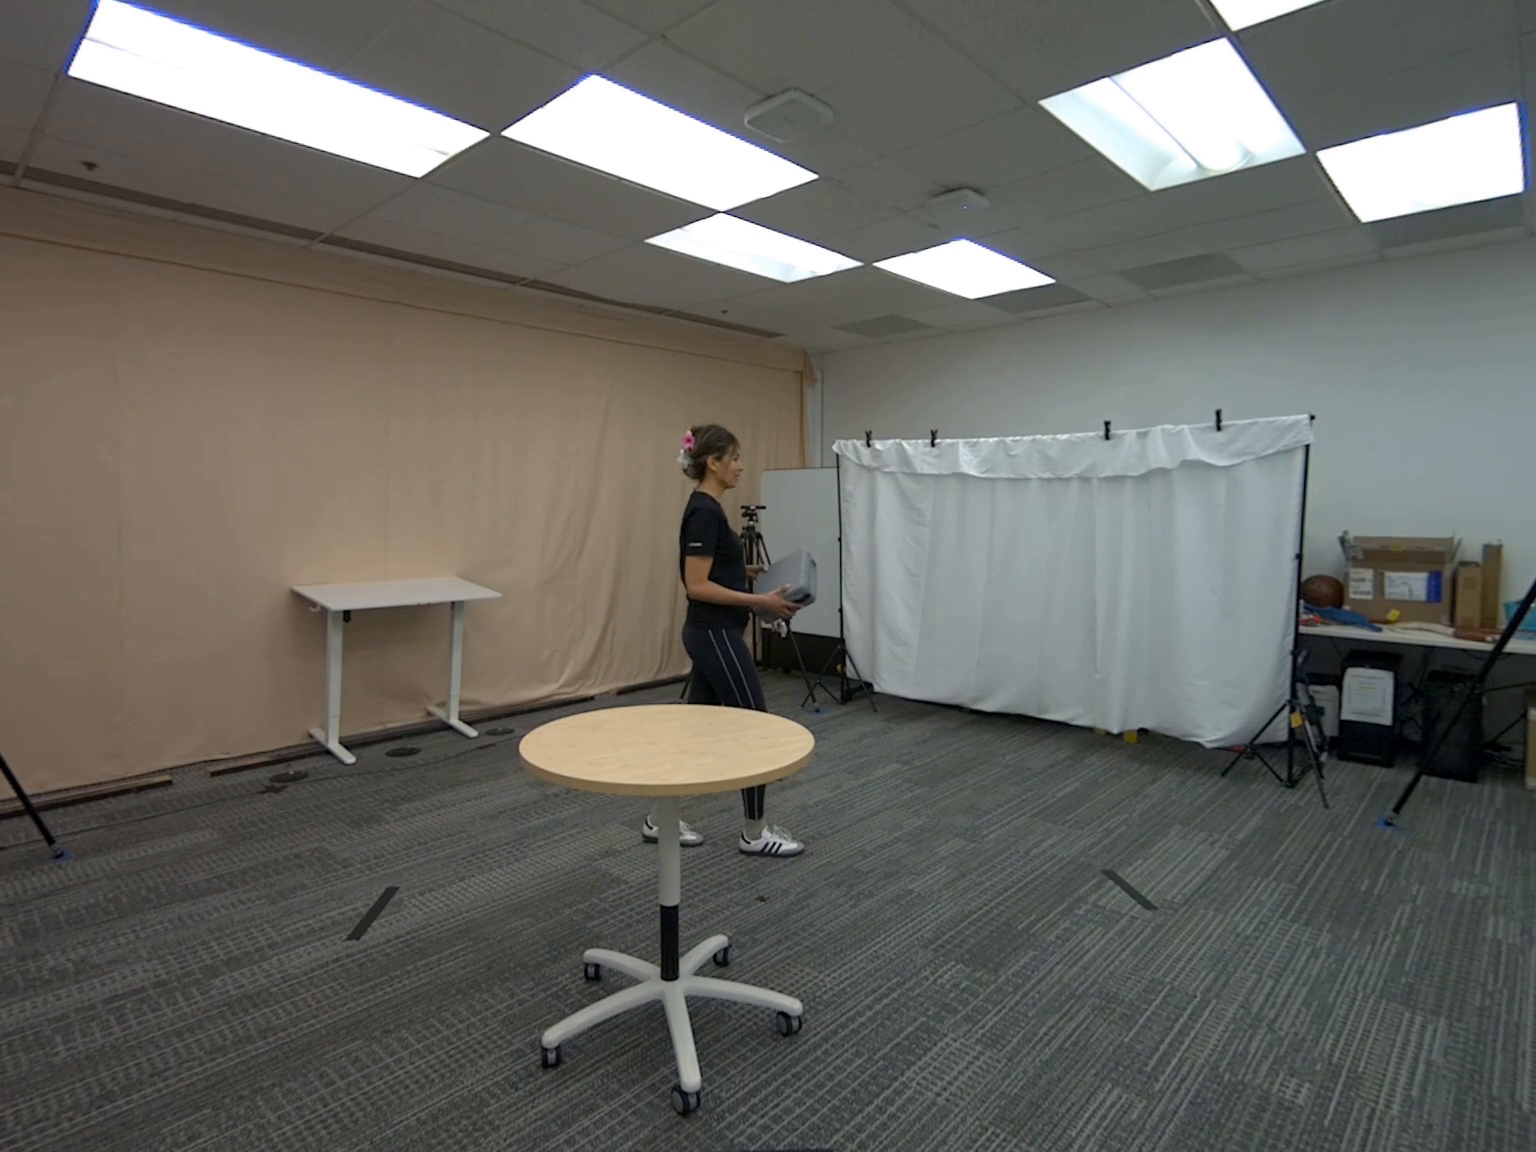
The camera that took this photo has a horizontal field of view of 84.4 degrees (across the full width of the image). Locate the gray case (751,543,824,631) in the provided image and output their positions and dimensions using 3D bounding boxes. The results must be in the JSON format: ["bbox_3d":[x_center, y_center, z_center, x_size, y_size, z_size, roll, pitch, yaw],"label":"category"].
[{"bbox_3d":[0.075,0.042,3.346,0.261,0.101,0.264,-28,33,28],"label":"gray case"}]
